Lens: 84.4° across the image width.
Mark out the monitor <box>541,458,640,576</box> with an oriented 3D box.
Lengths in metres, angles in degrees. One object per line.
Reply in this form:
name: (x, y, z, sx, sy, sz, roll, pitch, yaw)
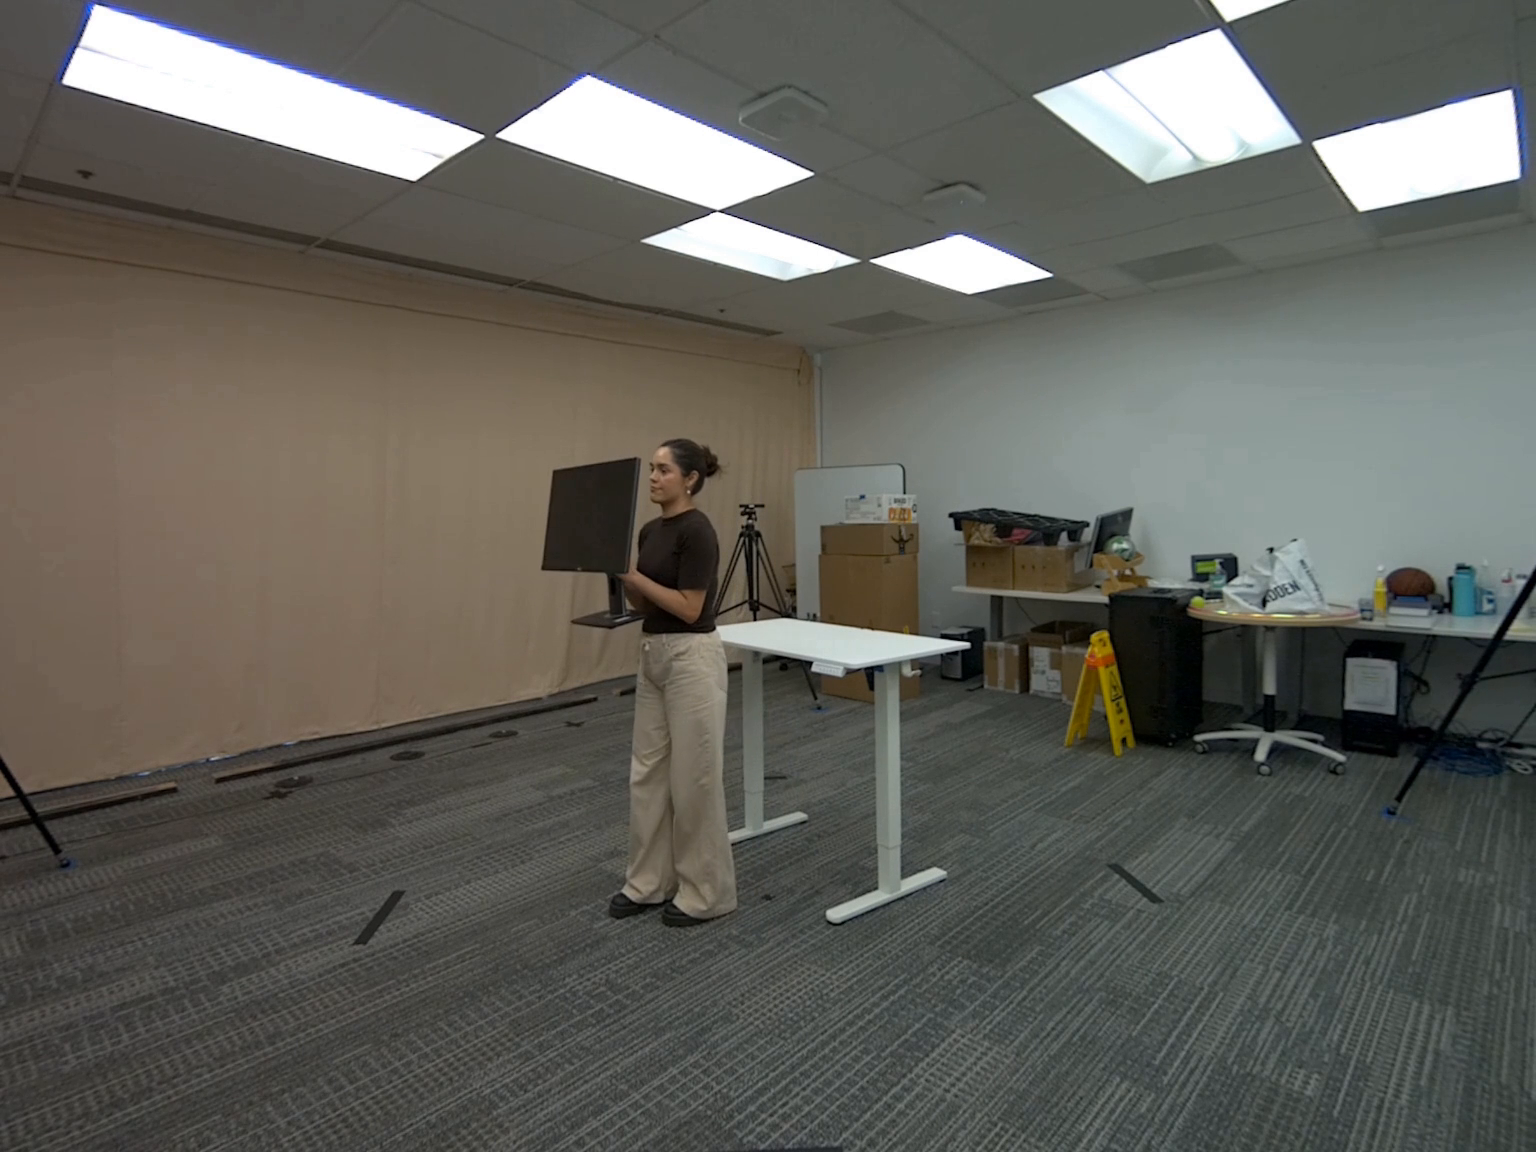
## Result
monitor: (-0.543, -0.104, 2.754, 0.182, 0.521, 0.556, -8, 6, -42)
